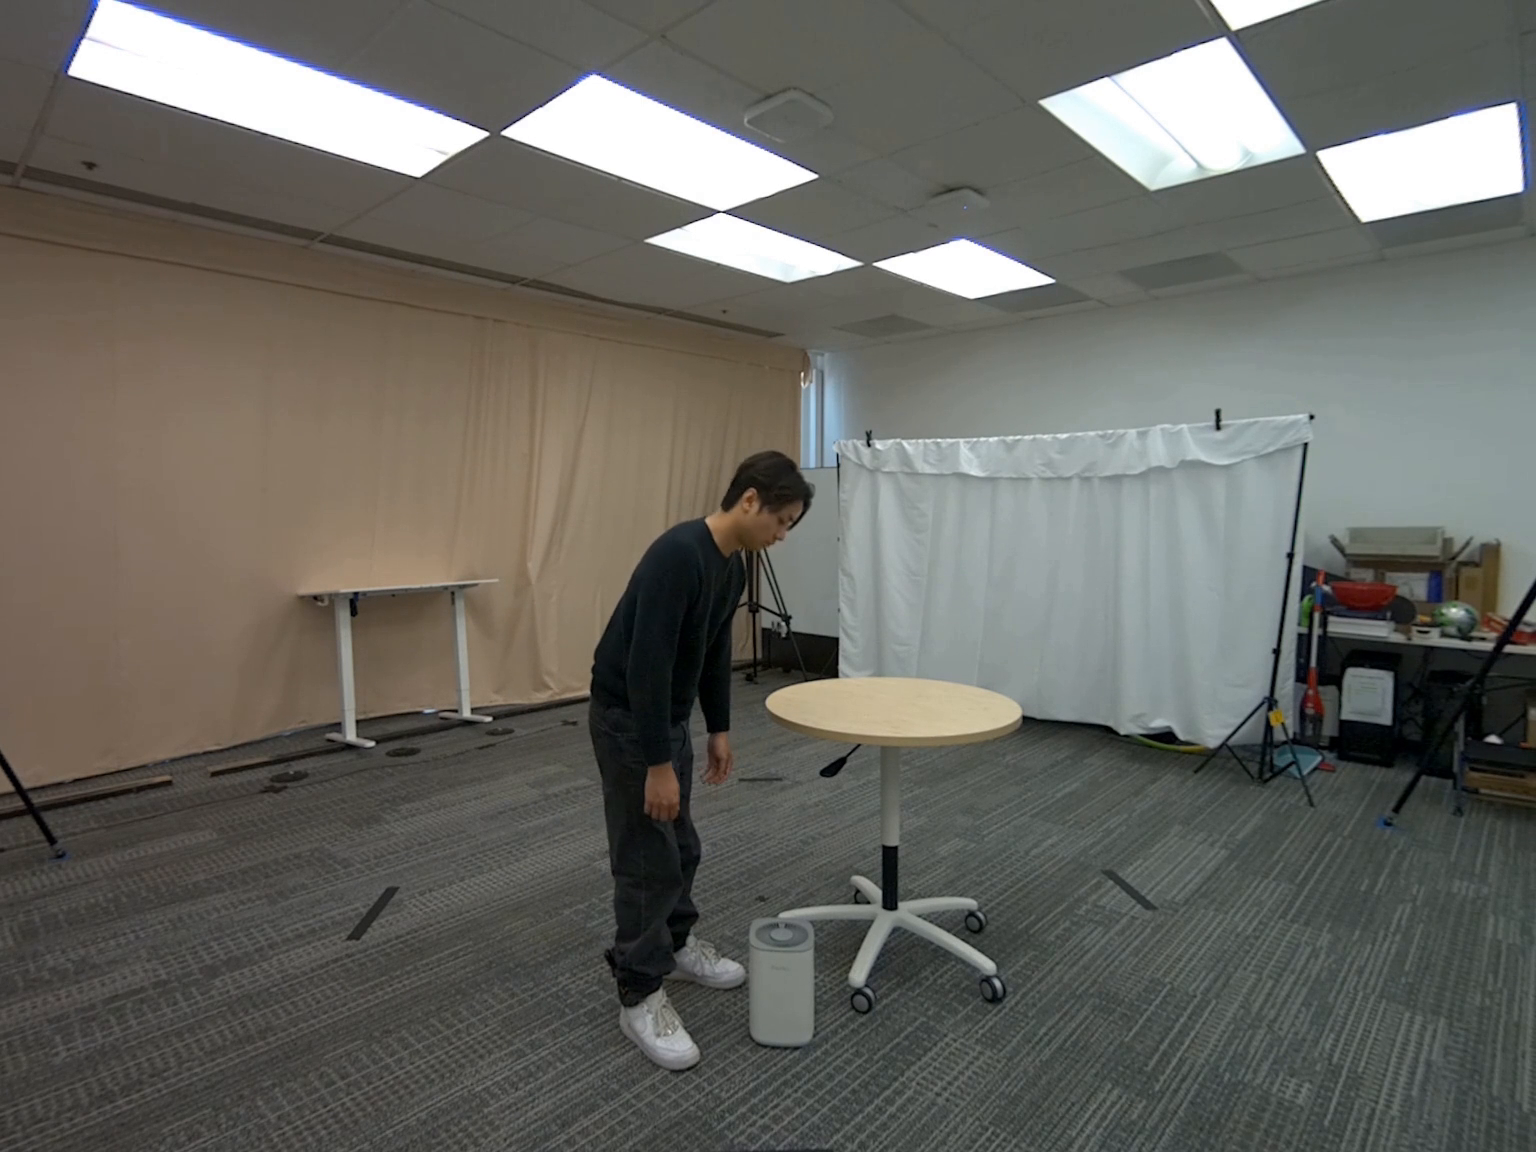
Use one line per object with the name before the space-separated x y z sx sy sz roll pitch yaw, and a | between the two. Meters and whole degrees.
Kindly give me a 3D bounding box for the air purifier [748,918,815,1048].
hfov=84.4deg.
air purifier | 0.044 1.079 2.218 0.172 0.265 0.171 1 3 3
